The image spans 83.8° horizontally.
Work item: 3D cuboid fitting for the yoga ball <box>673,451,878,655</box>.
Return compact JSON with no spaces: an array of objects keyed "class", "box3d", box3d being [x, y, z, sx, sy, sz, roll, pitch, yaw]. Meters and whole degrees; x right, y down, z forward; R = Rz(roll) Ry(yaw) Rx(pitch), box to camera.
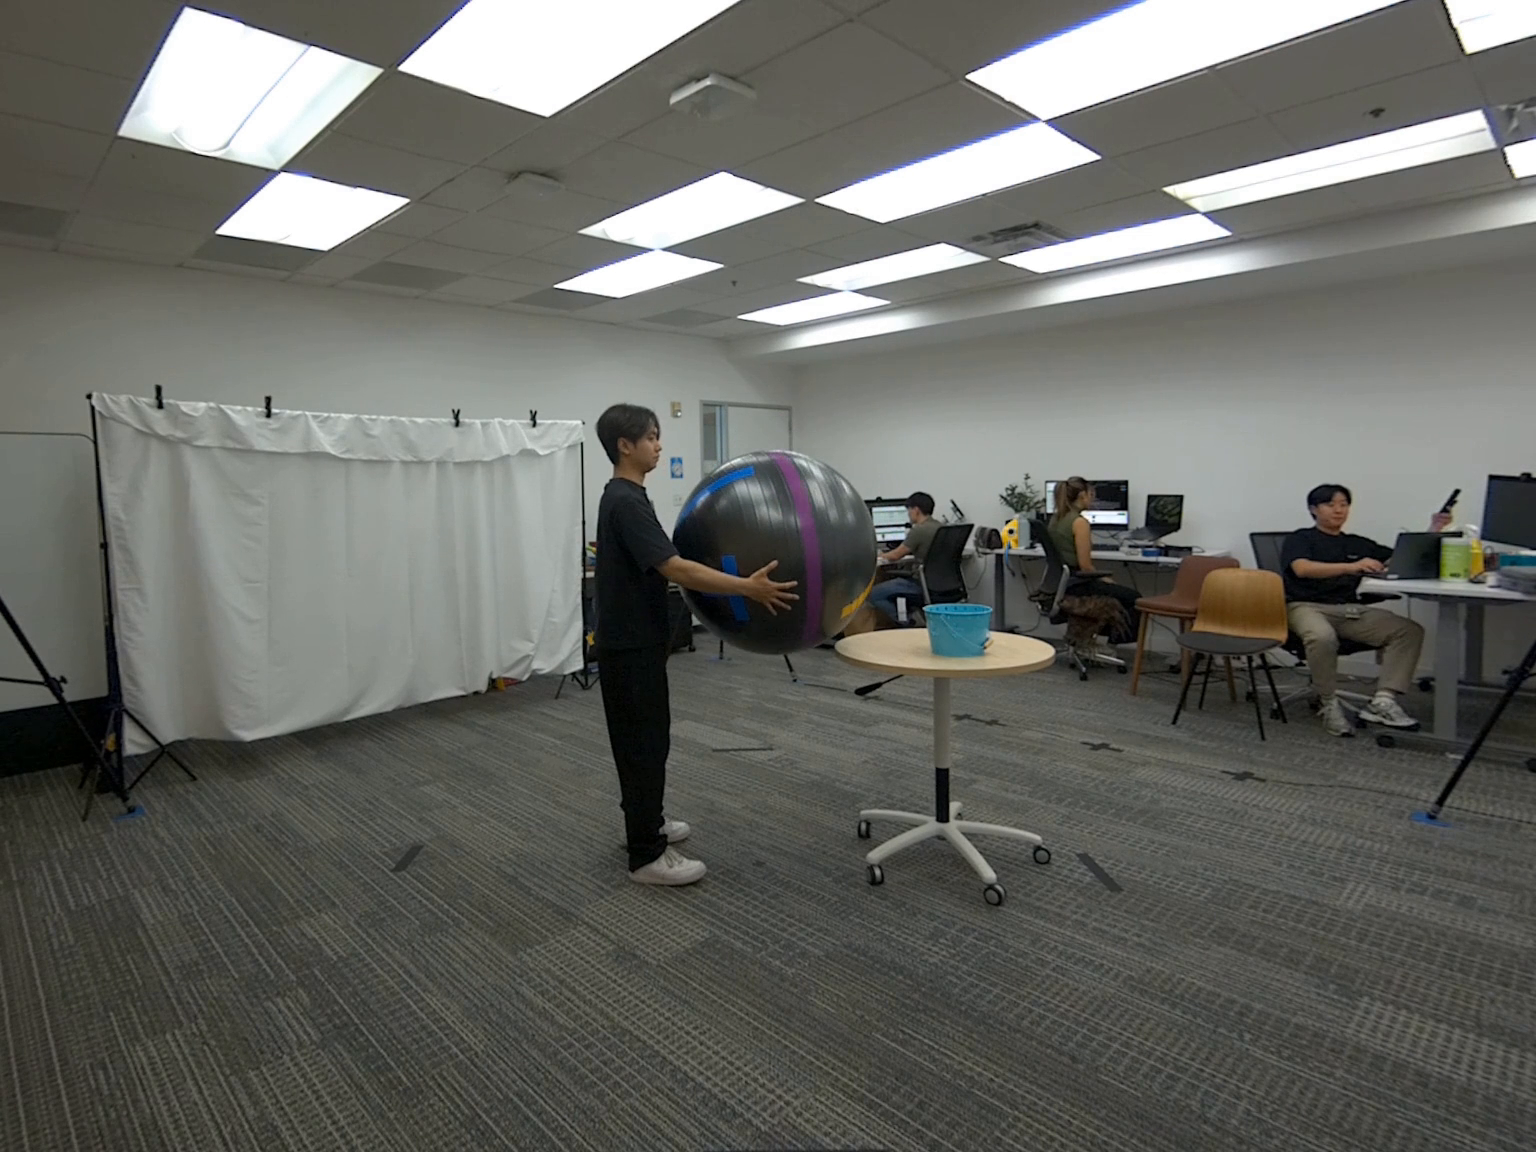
[{"class":"yoga ball","box3d":[0.033,-0.083,3.200,0.757,0.755,0.762,-1,5,-2]}]
